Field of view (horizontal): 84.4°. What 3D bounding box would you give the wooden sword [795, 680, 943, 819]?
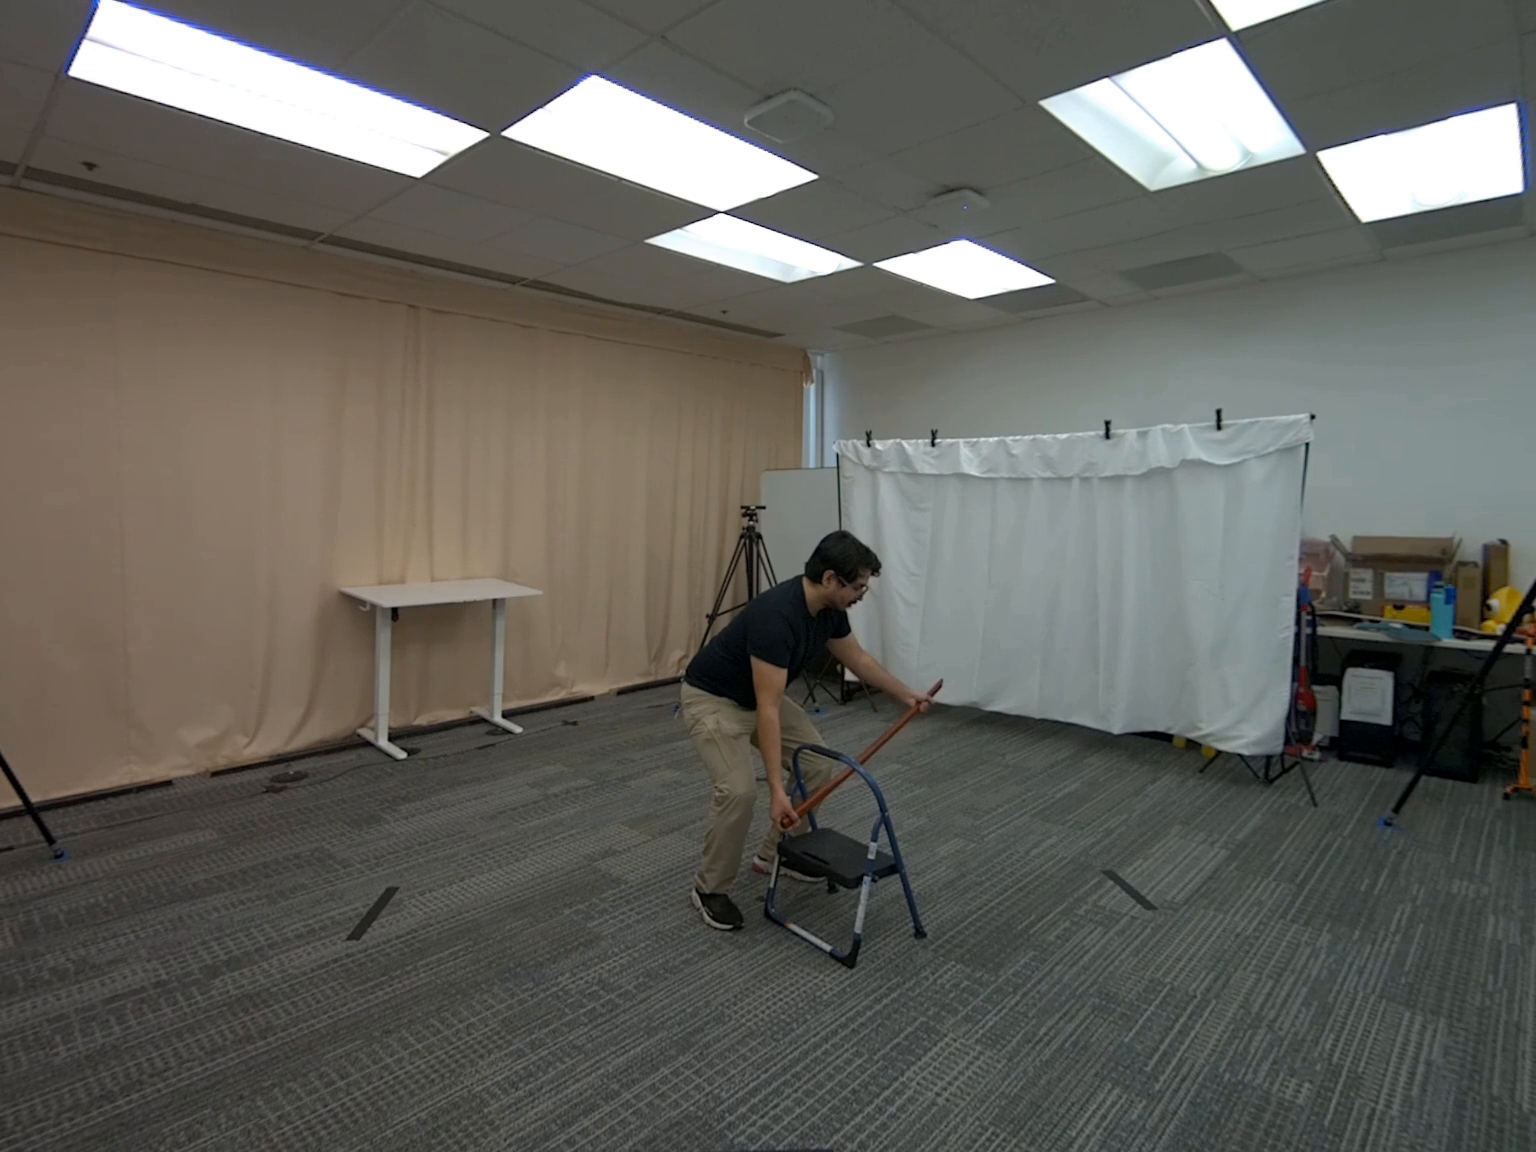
[{"bbox_3d":[0.368,0.591,2.985,0.025,0.050,1.004,14,31,43],"label":"wooden sword"}]
